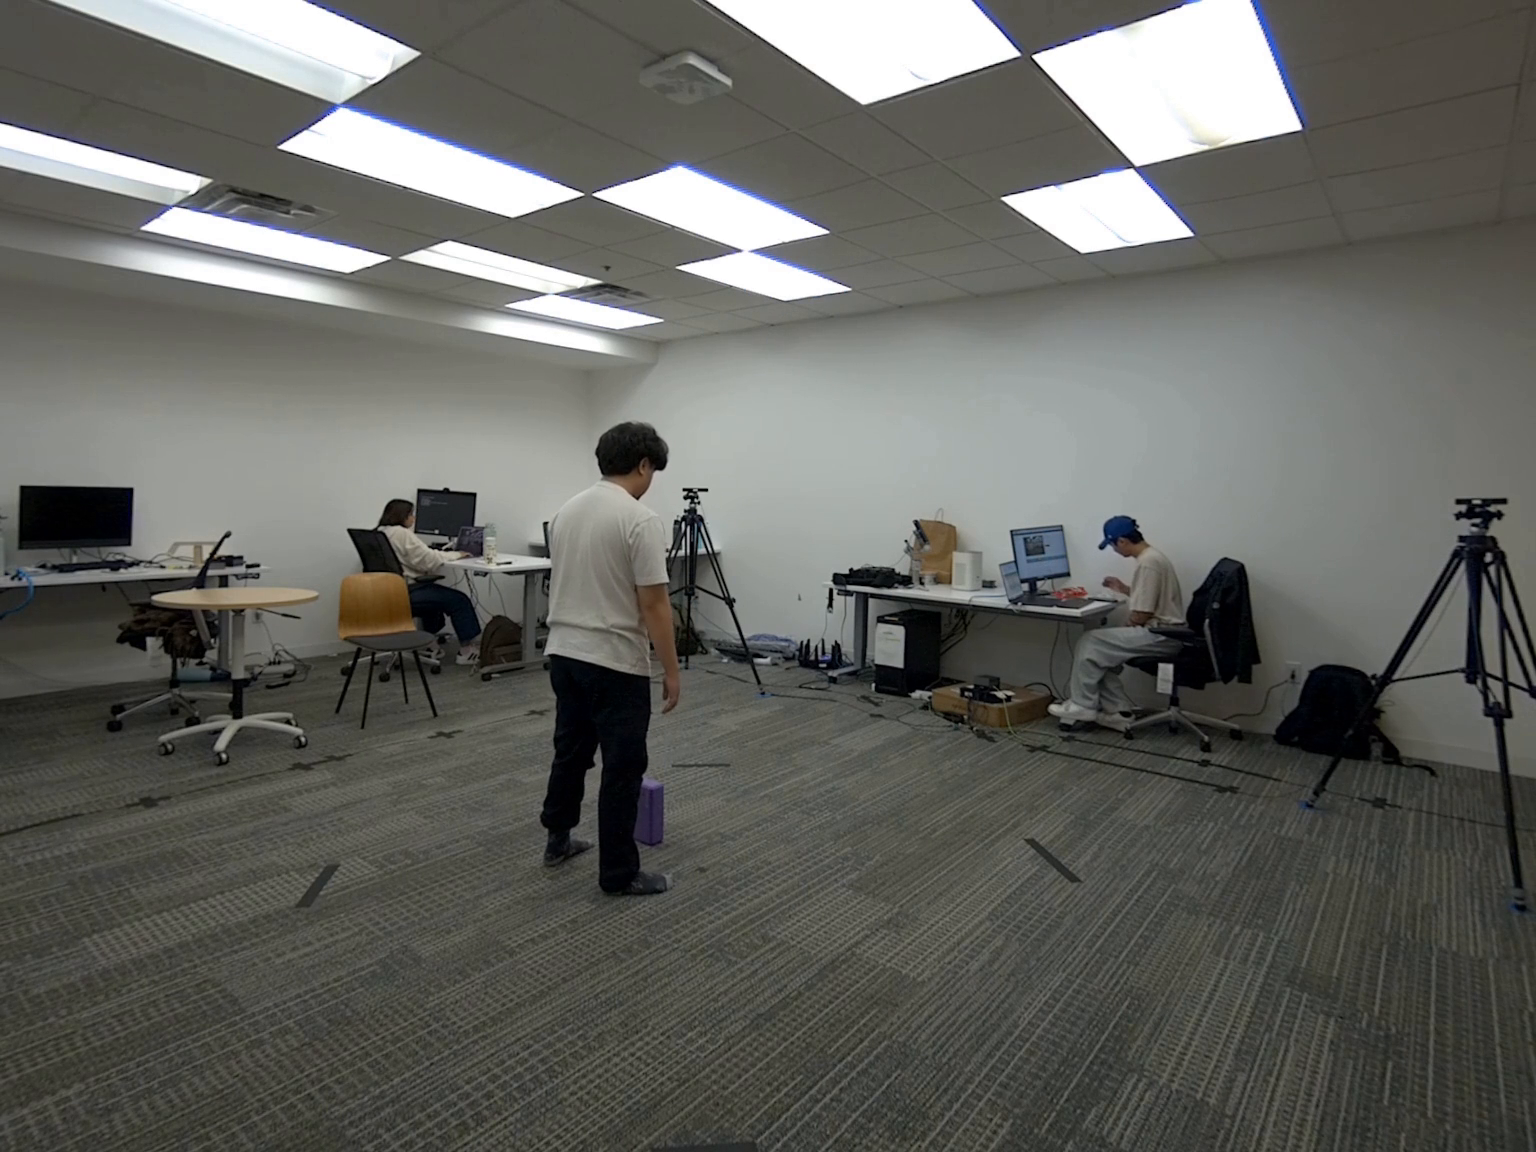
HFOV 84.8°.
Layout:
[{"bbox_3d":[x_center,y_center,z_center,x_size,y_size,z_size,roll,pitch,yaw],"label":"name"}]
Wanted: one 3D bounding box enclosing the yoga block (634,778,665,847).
[{"bbox_3d":[-0.496,0.927,3.370,0.154,0.229,0.074,2,2,41],"label":"yoga block"}]
